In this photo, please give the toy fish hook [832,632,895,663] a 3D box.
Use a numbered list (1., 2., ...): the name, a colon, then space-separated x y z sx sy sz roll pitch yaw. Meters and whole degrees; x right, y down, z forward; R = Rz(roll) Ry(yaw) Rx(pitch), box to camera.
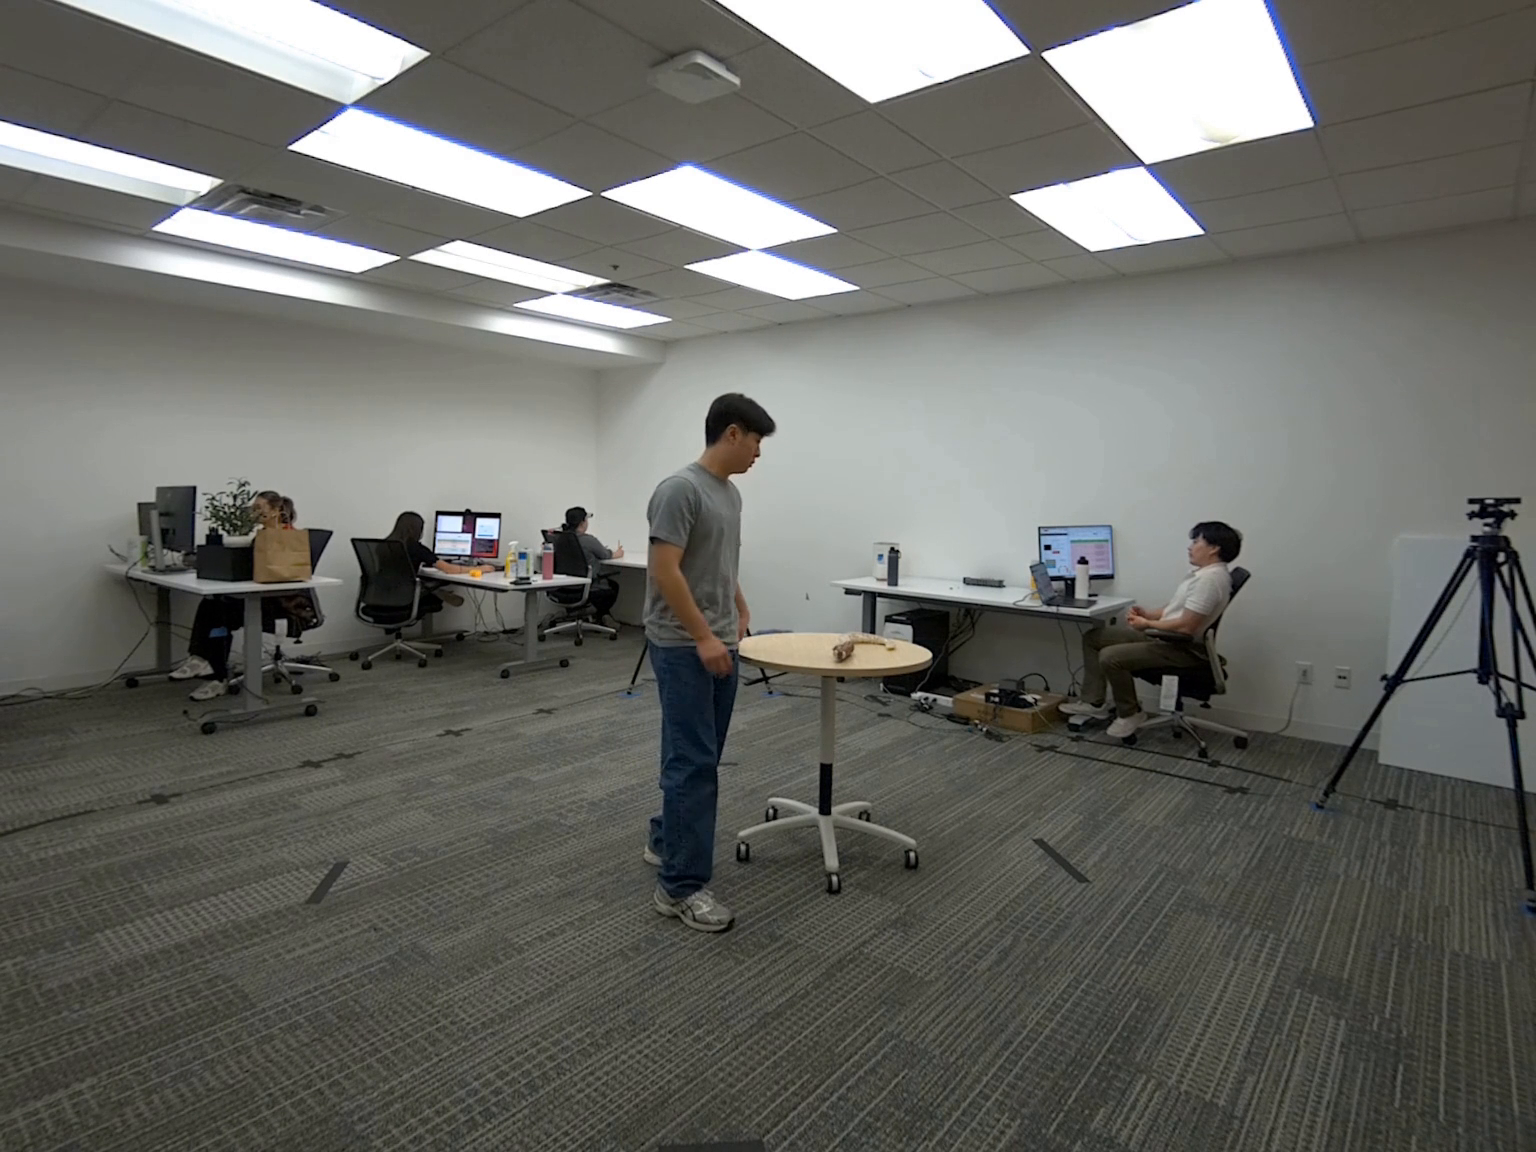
1. toy fish hook: 0.354 0.267 3.216 0.228 0.048 0.501 2 6 13
